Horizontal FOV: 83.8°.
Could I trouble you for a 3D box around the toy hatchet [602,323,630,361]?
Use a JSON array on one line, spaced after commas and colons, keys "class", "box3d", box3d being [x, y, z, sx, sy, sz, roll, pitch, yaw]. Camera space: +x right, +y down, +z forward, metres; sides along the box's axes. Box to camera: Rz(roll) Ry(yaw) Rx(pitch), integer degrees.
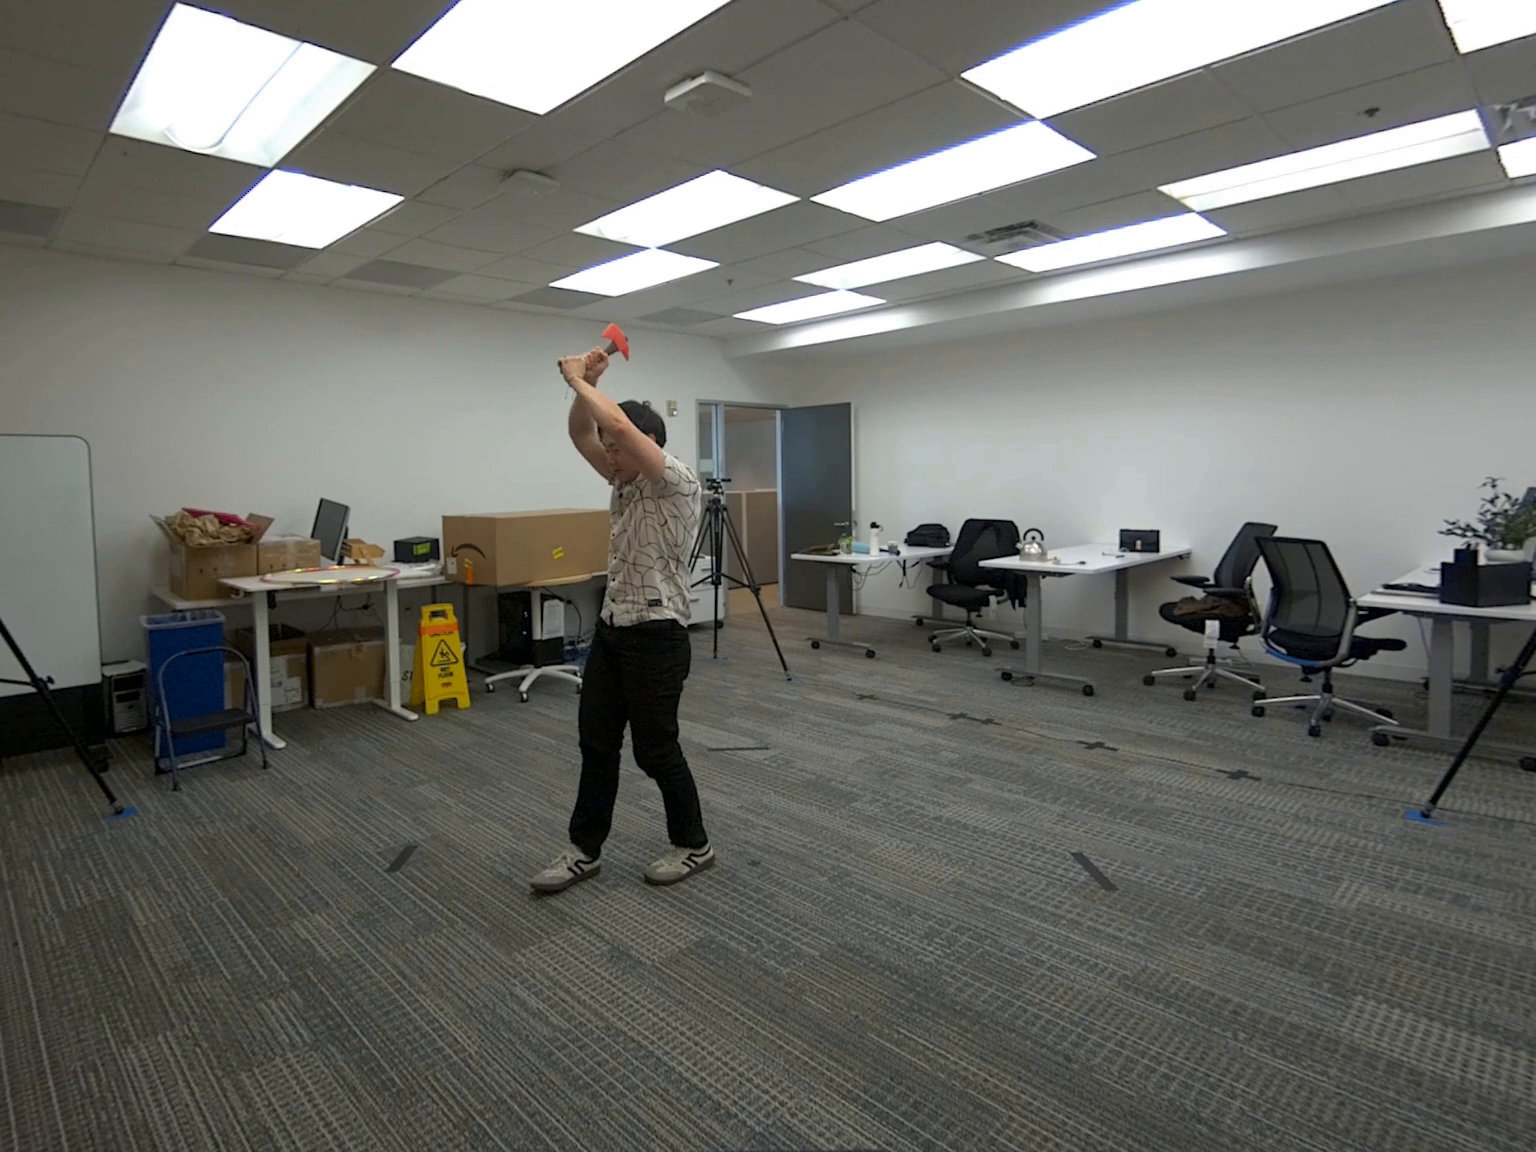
[{"class": "toy hatchet", "box3d": [-0.571, -0.754, 2.804, 0.266, 0.128, 0.031, -22, 31, -33]}]
